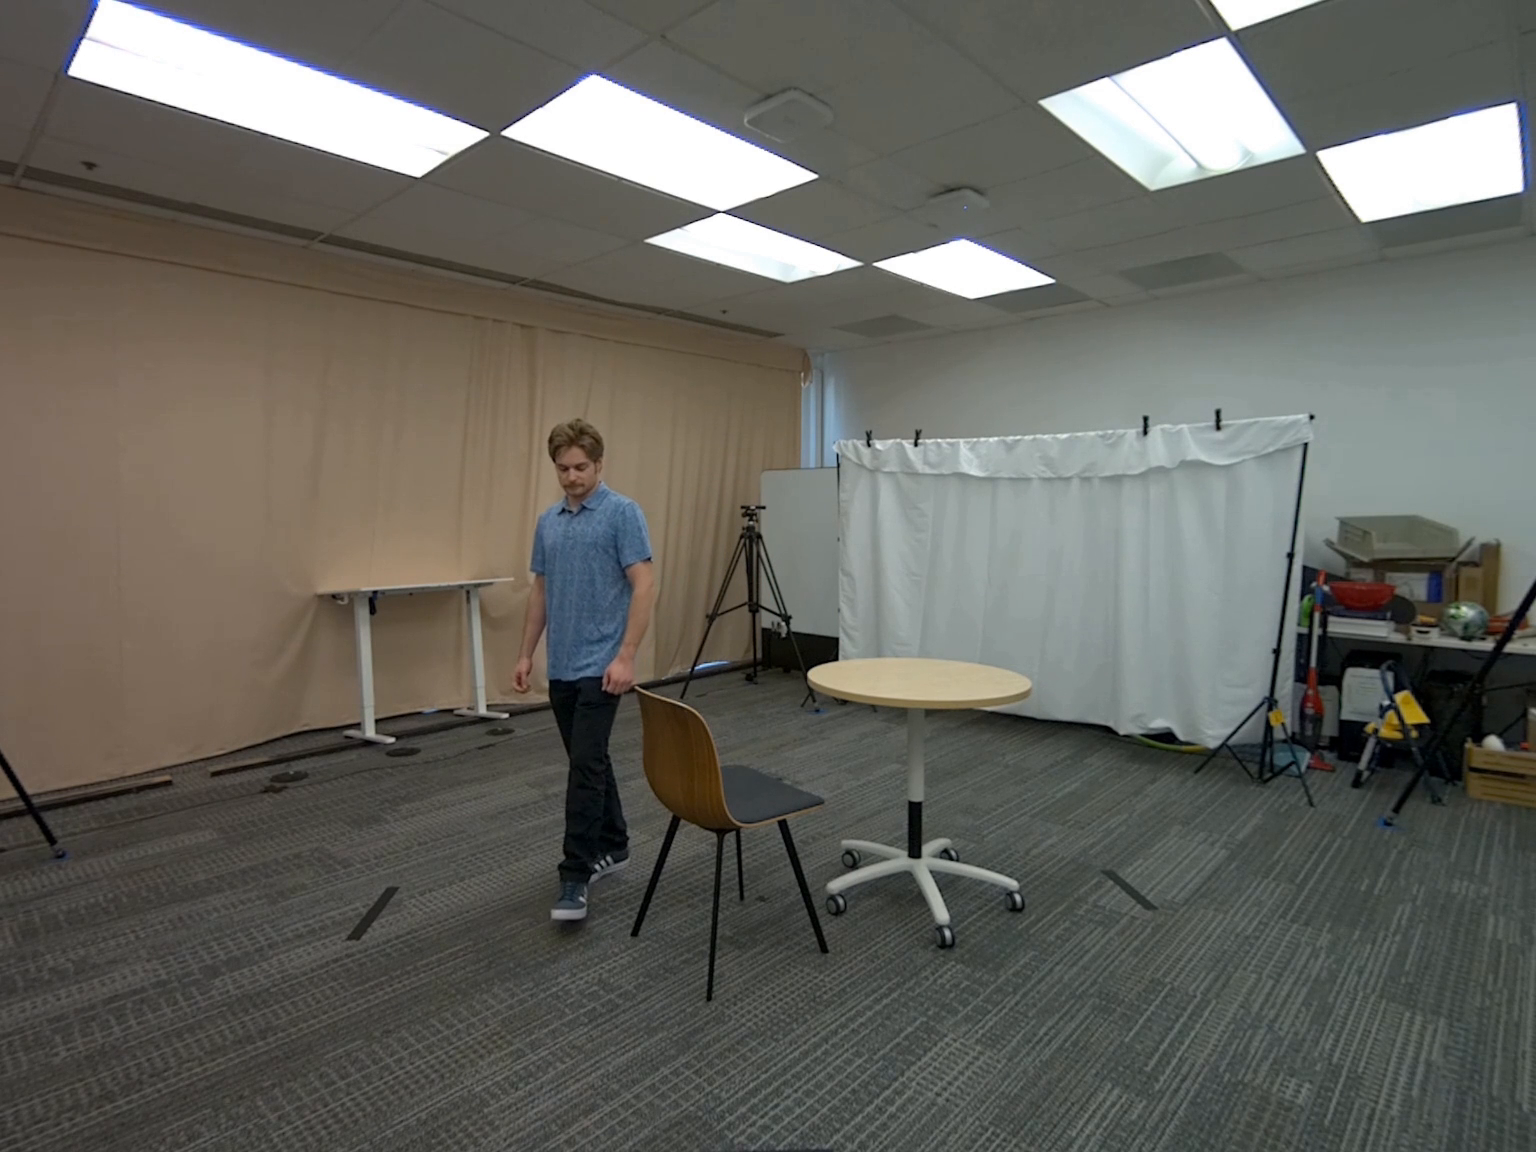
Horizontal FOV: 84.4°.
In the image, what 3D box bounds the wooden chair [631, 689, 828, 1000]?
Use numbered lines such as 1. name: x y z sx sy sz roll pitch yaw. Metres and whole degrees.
1. wooden chair: -0.122 0.745 2.650 0.509 0.874 0.493 -8 7 -37
